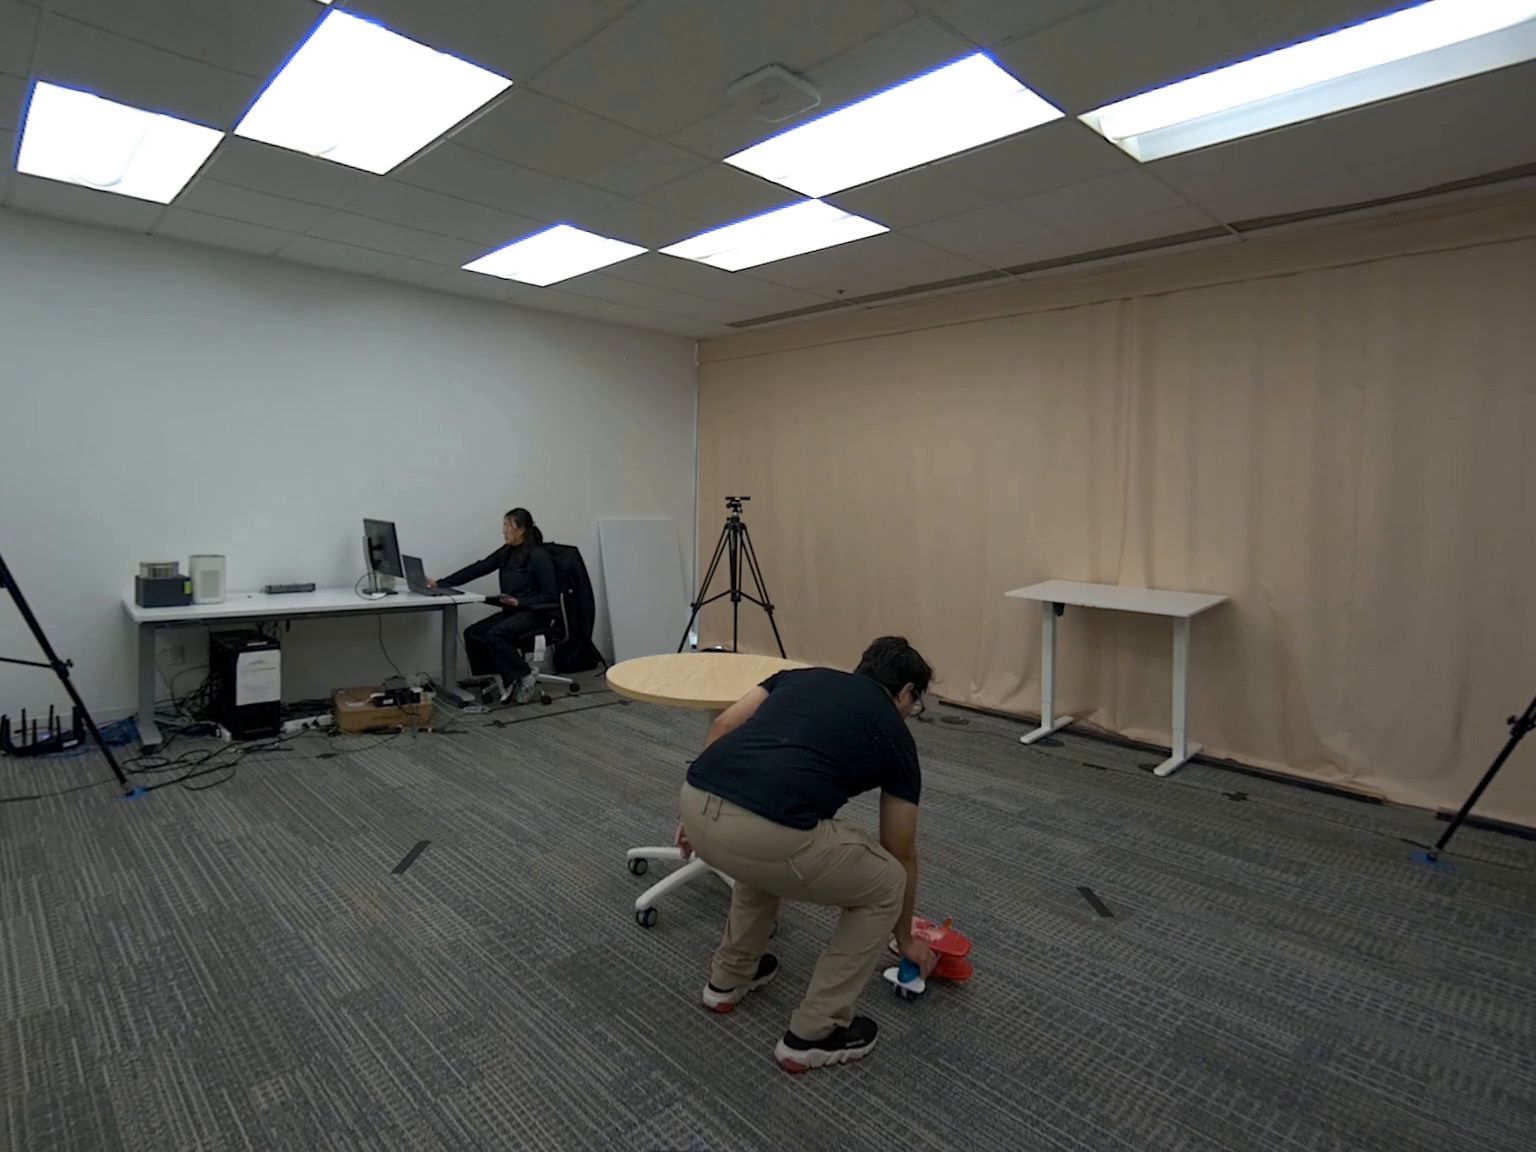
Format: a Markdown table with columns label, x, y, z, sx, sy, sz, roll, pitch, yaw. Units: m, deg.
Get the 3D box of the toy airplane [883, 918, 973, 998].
| label | x | y | z | sx | sy | sz | roll | pitch | yaw |
| --- | --- | --- | --- | --- | --- | --- | --- | --- | --- |
| toy airplane | 0.461 | 1.113 | 2.419 | 0.253 | 0.156 | 0.257 | 2 | 3 | 10 |
